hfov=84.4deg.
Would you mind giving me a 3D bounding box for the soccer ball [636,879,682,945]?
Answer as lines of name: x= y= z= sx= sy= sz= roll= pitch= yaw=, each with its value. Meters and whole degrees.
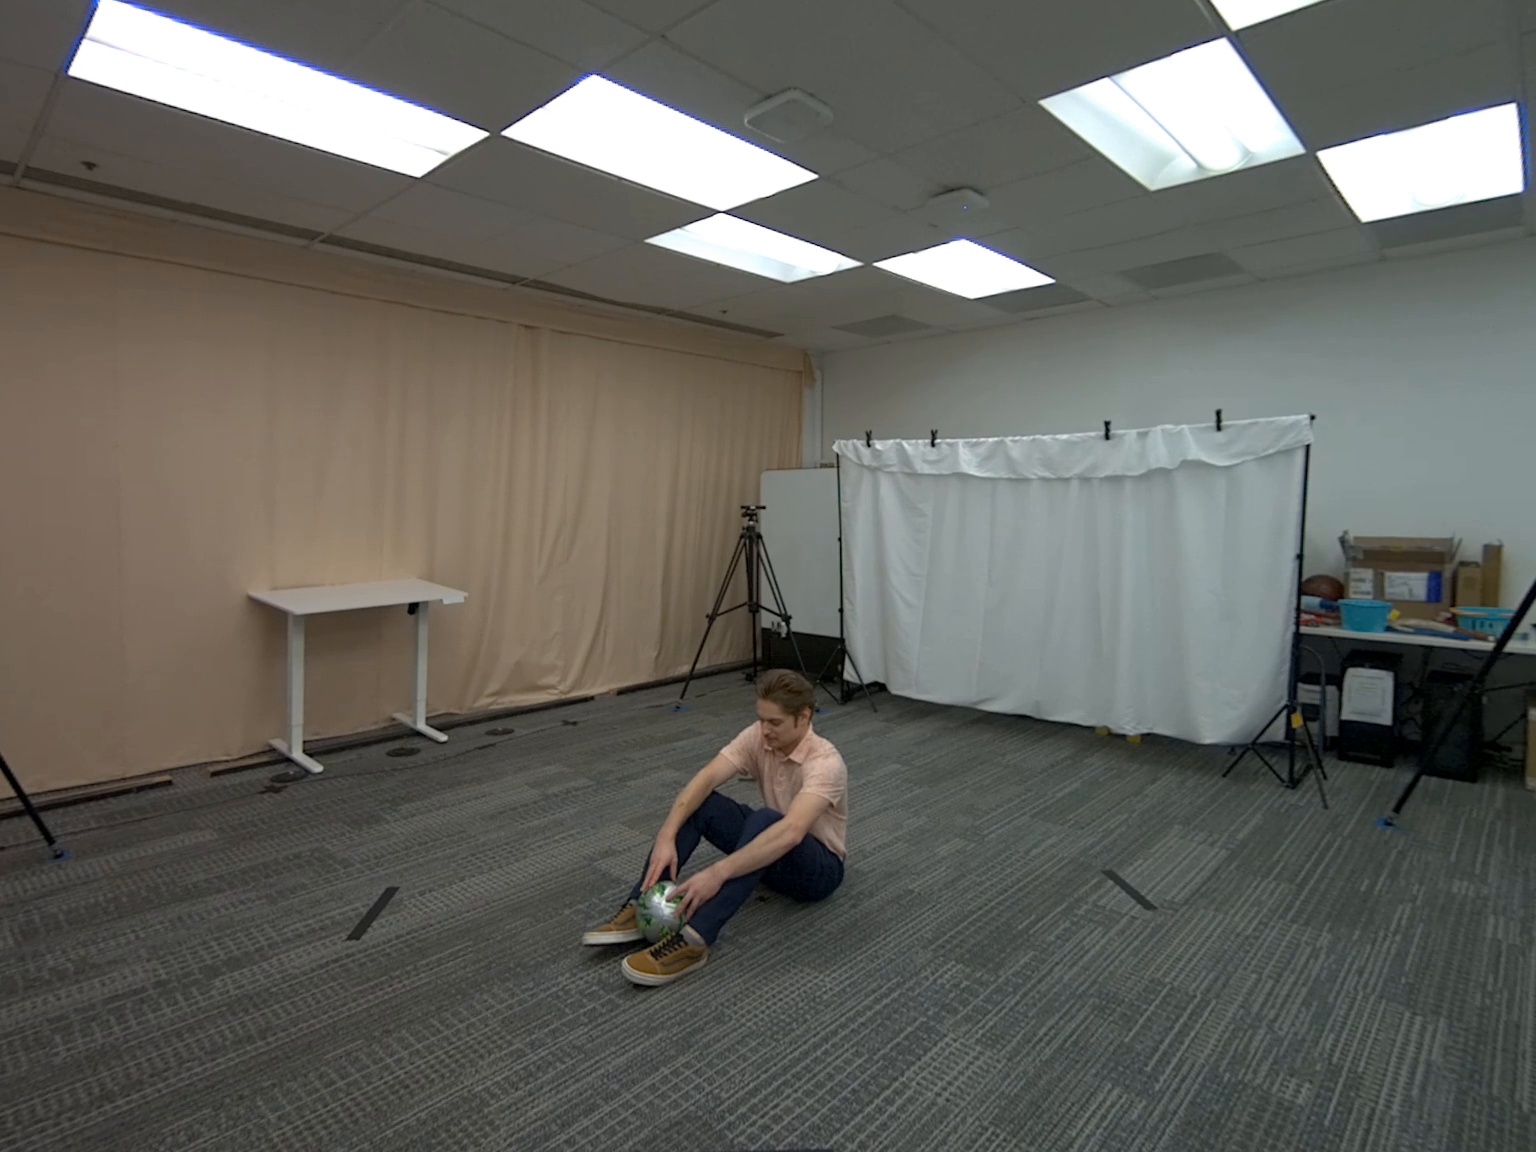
soccer ball: x=-0.313 y=1.054 z=2.637 sx=0.187 sy=0.187 sz=0.188 roll=0 pitch=4 yaw=-2
